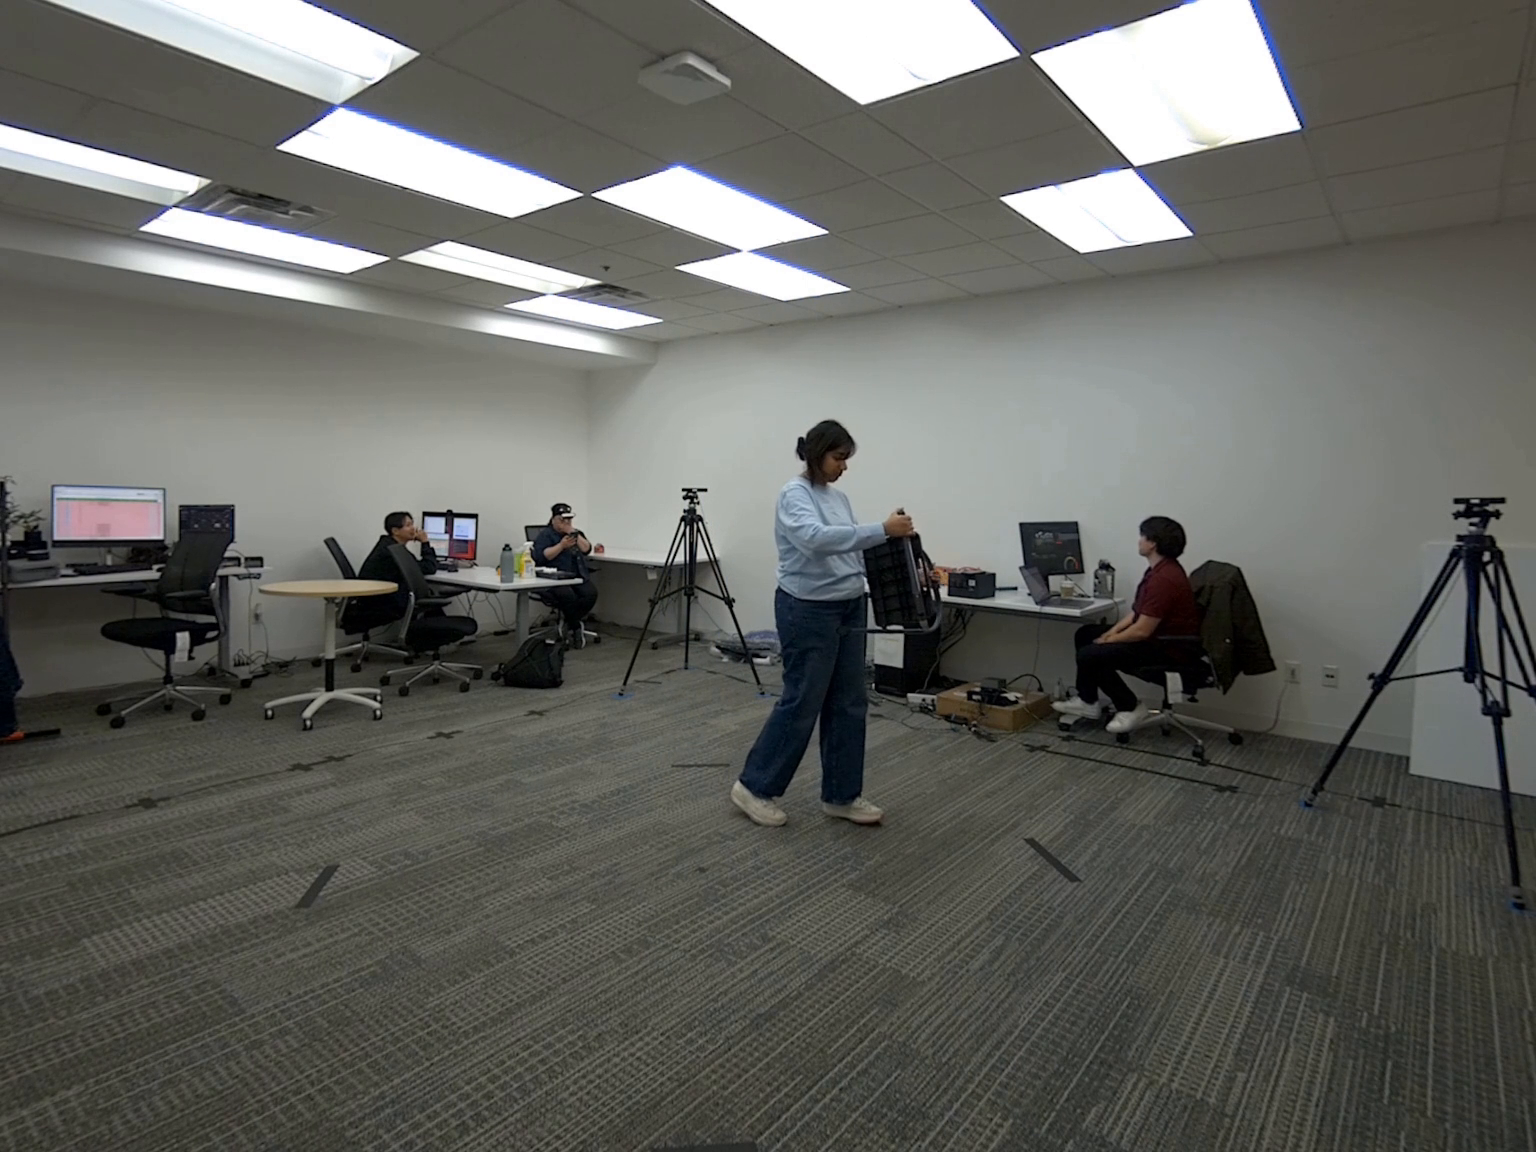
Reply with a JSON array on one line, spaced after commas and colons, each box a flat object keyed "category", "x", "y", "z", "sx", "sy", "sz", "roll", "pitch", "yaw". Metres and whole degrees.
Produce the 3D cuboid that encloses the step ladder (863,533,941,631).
[{"category": "step ladder", "x": 0.518, "y": 0.025, "z": 3.501, "sx": 0.355, "sy": 0.438, "sz": 0.585, "roll": -16, "pitch": -15, "yaw": 26}]
